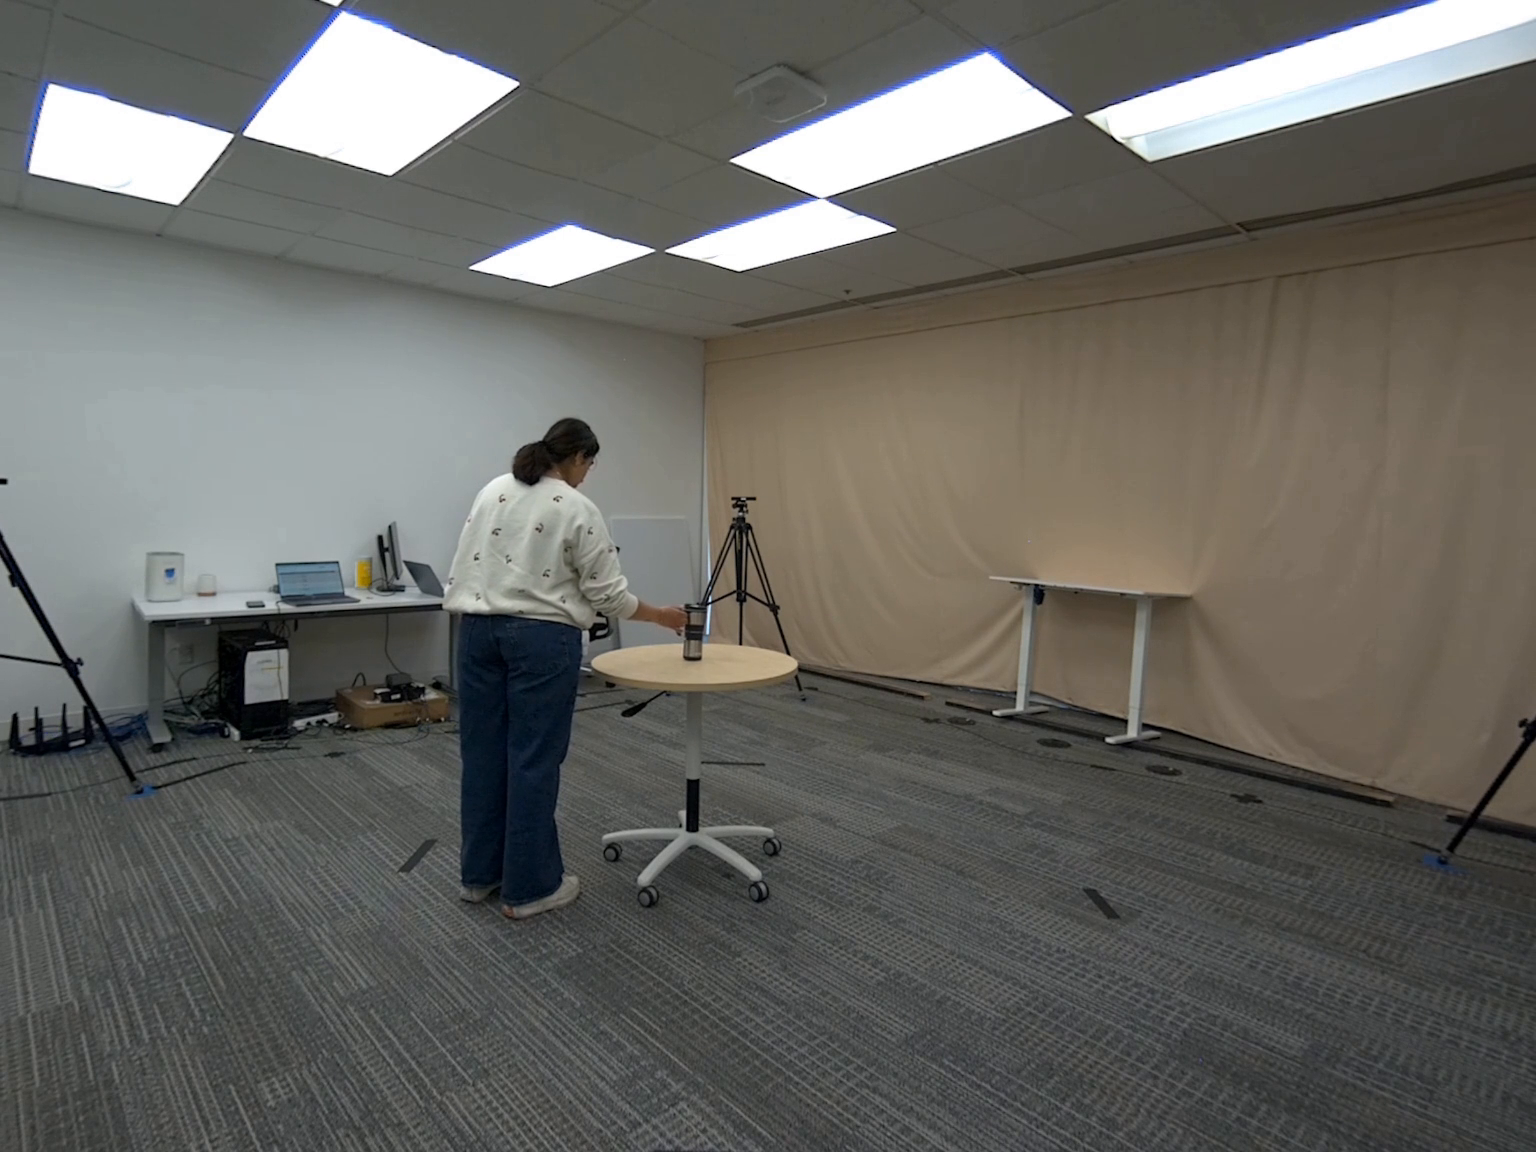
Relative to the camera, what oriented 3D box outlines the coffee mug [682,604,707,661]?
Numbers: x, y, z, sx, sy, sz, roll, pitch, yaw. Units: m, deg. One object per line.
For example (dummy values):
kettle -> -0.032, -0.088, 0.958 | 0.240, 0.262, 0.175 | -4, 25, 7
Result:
coffee mug -> -0.307, 0.214, 3.160 | 0.120, 0.203, 0.089 | 7, 2, -22
